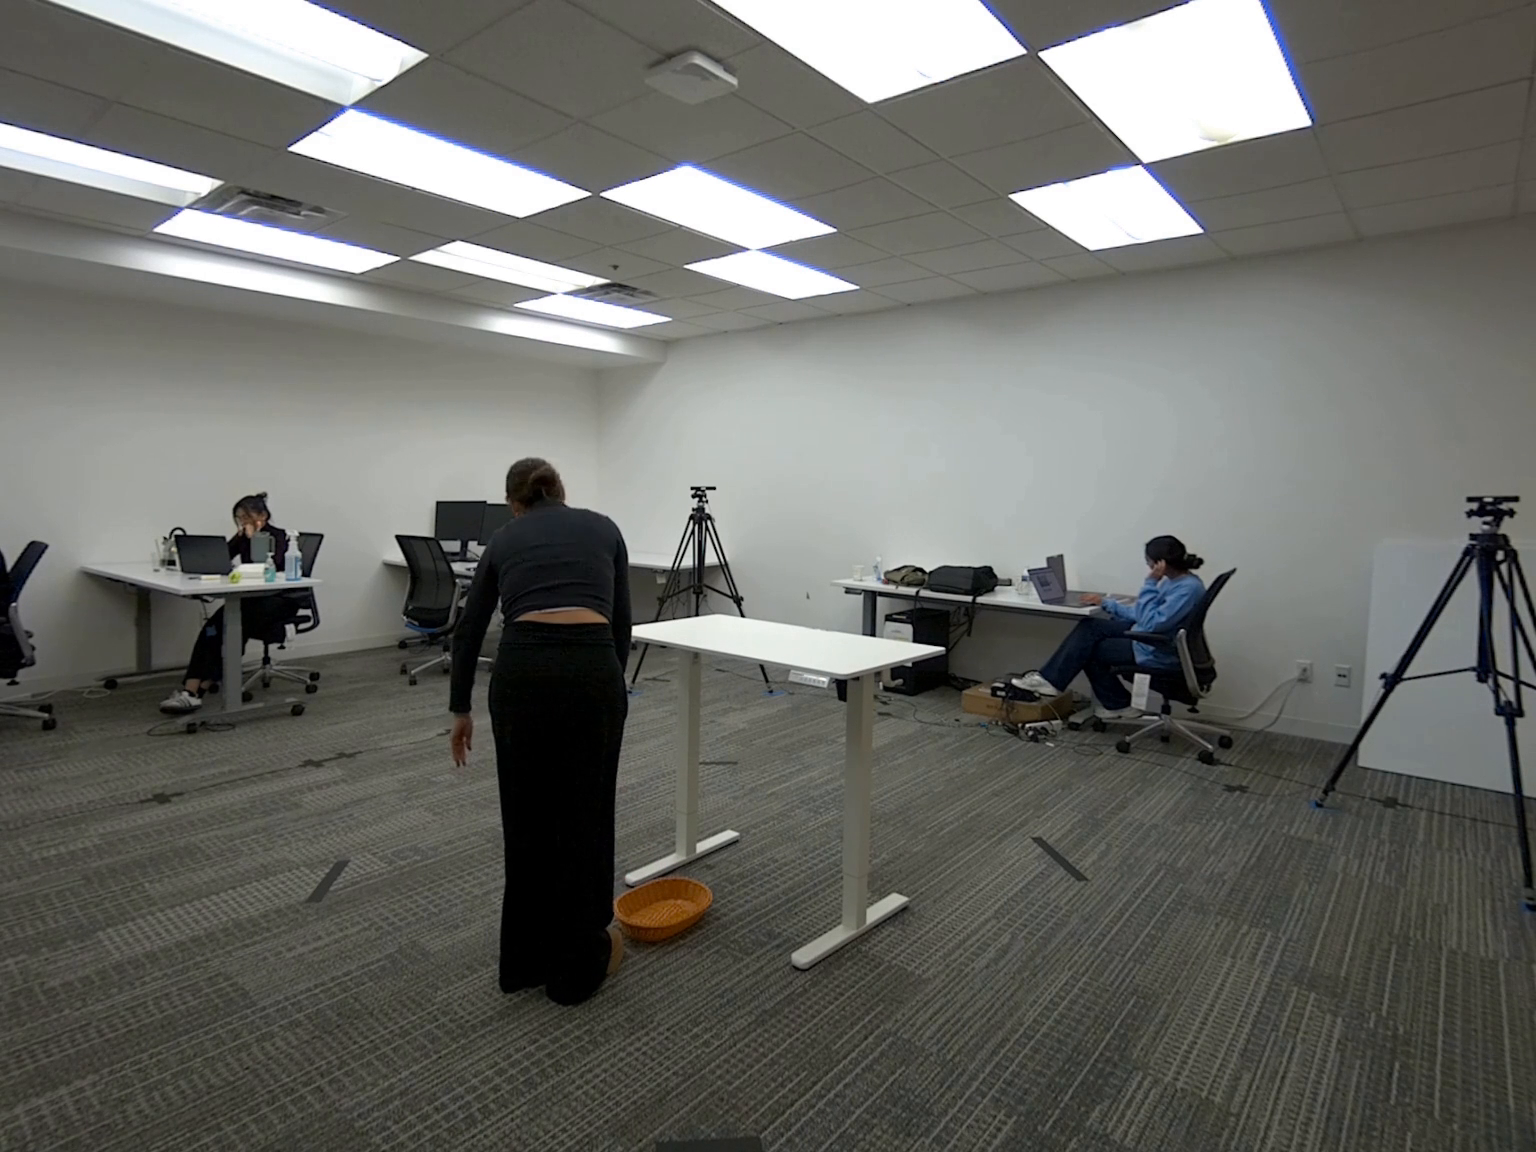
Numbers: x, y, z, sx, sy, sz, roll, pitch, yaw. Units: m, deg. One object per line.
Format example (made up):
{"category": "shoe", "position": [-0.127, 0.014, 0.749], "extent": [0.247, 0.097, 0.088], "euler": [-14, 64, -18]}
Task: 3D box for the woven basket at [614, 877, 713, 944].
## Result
{"category": "woven basket", "position": [-0.343, 1.063, 2.715], "extent": [0.261, 0.073, 0.340], "euler": [7, 8, 42]}
